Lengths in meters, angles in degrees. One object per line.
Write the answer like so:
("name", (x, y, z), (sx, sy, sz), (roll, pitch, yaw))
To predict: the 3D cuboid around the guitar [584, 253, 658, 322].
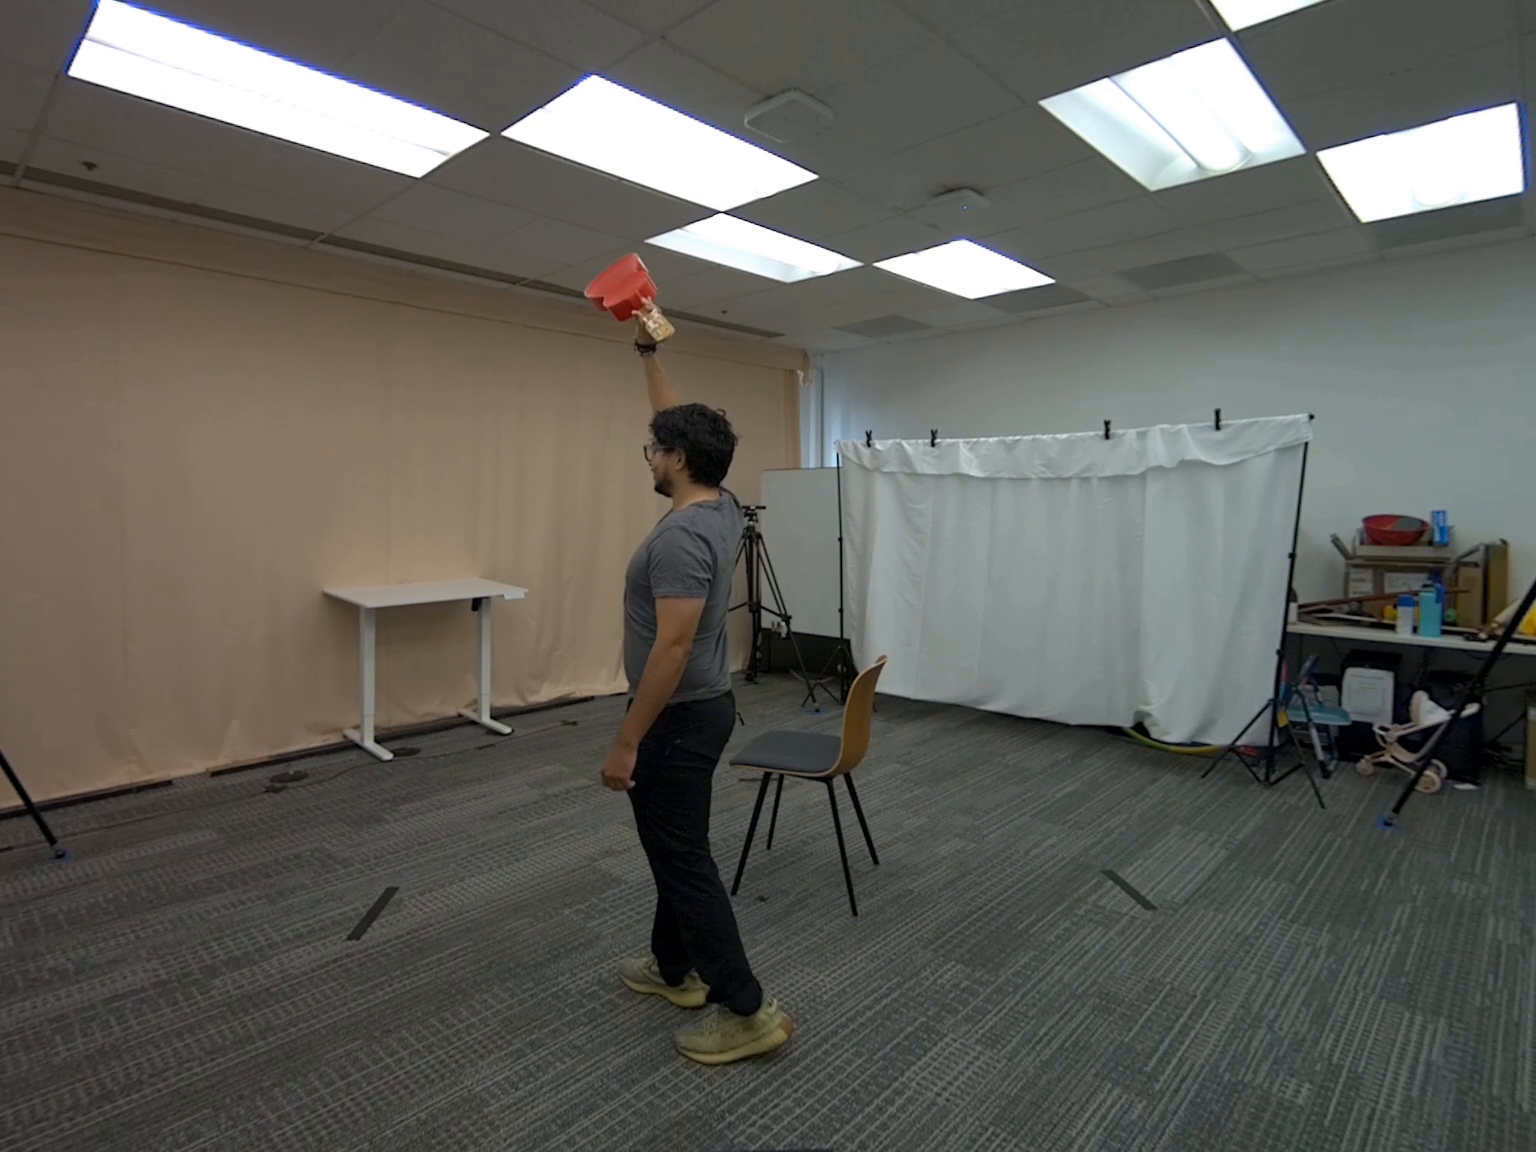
("guitar", (-0.346, -0.792, 2.368), (0.516, 0.192, 0.068), (42, -7, 49))
